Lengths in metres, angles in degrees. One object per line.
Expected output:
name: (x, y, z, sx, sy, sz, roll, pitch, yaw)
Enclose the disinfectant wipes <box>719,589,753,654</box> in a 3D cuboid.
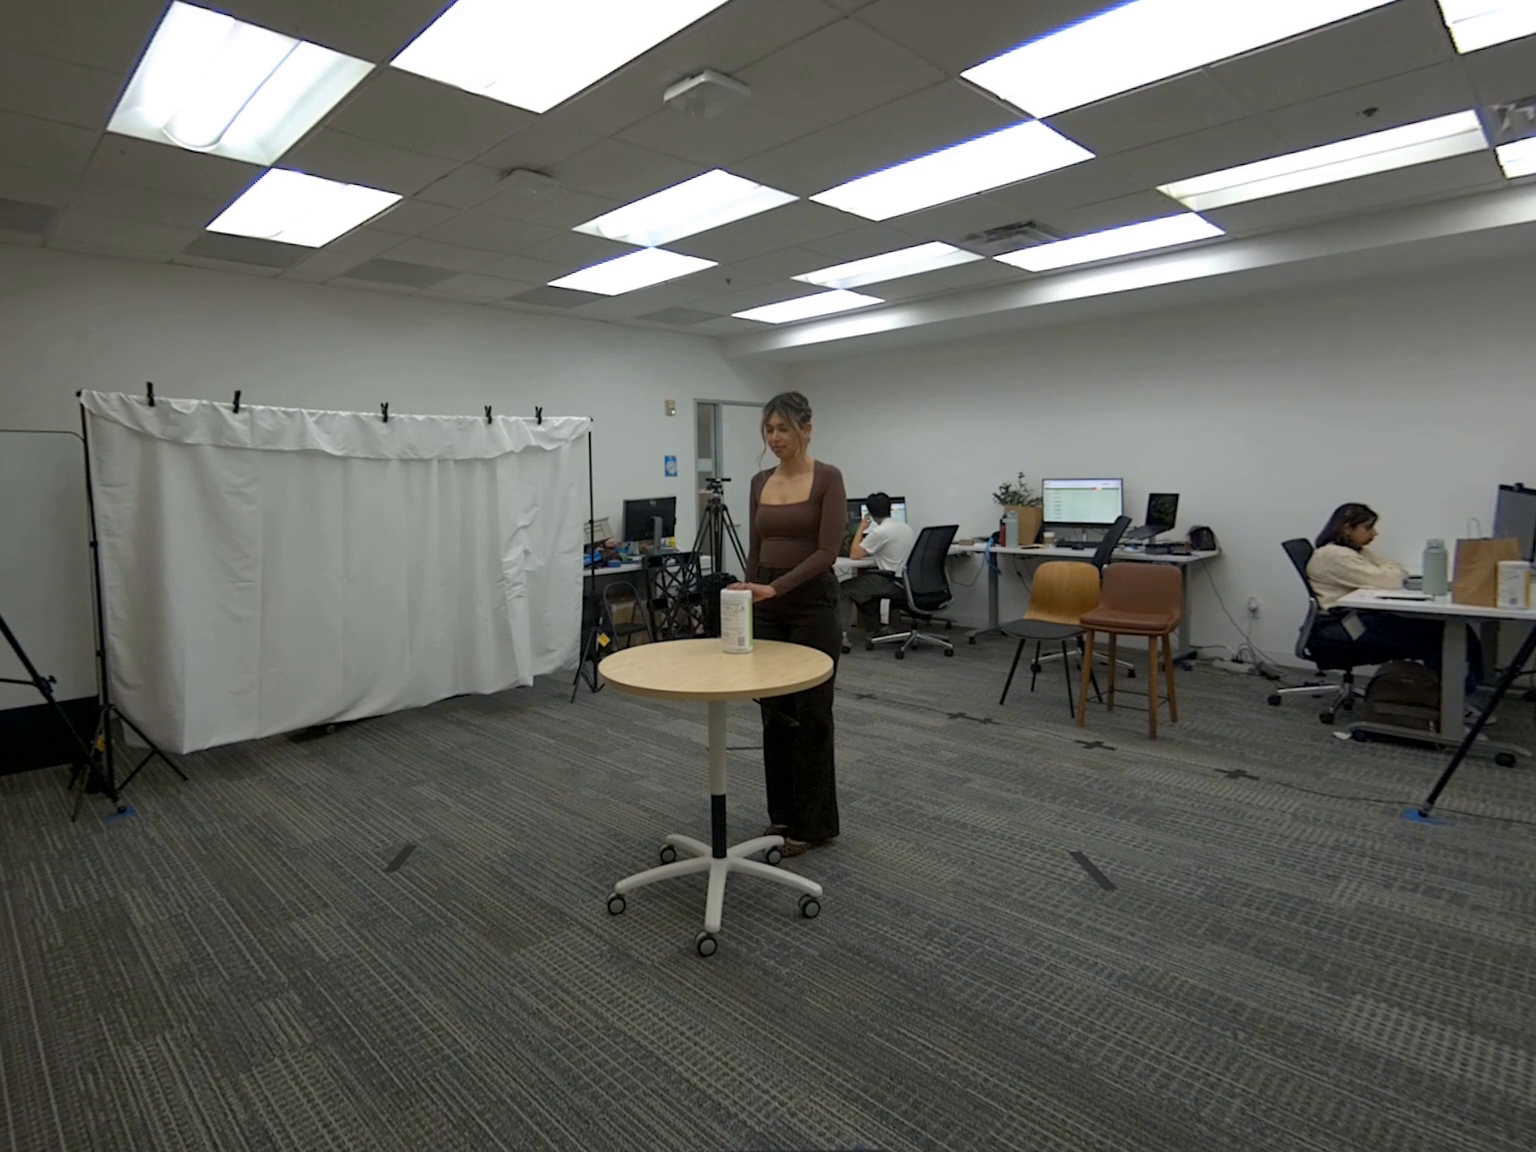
disinfectant wipes: (-0.104, 0.156, 2.961, 0.118, 0.217, 0.118, 1, 4, -2)
